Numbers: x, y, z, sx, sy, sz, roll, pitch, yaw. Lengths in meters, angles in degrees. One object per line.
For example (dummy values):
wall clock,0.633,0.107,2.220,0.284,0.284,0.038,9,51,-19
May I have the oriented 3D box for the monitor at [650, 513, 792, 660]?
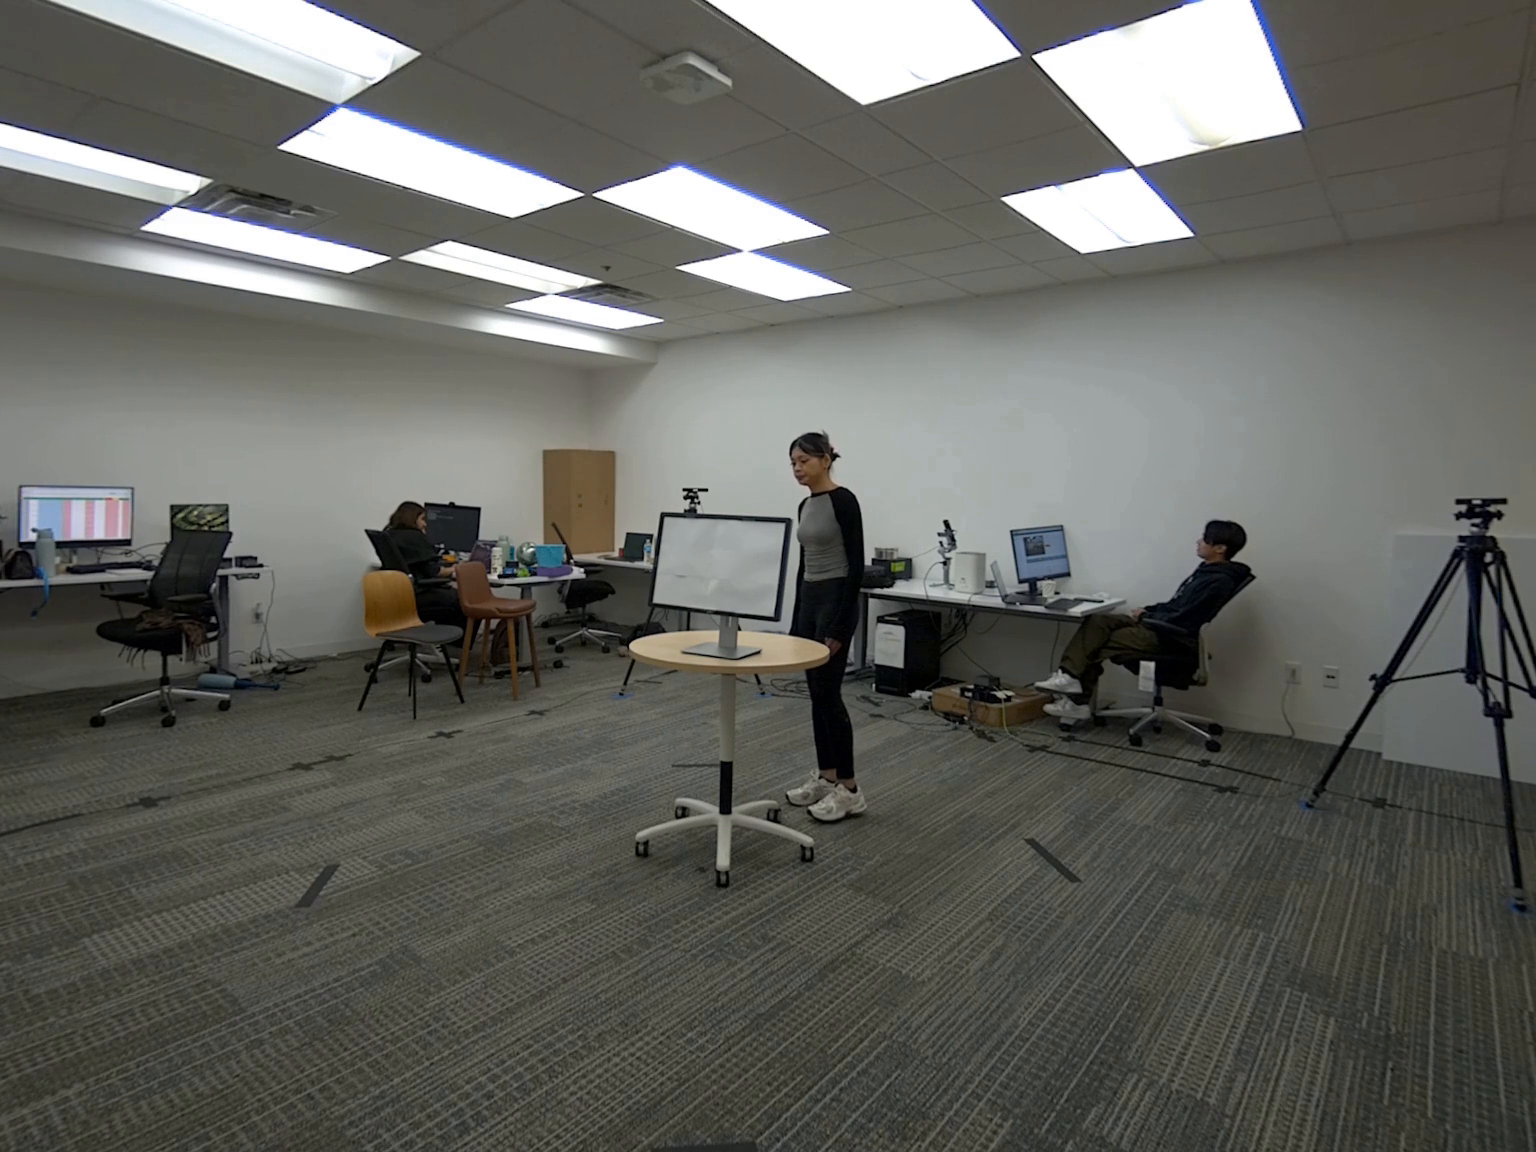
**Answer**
monitor,-0.178,0.034,3.114,0.546,0.511,0.171,6,11,31
